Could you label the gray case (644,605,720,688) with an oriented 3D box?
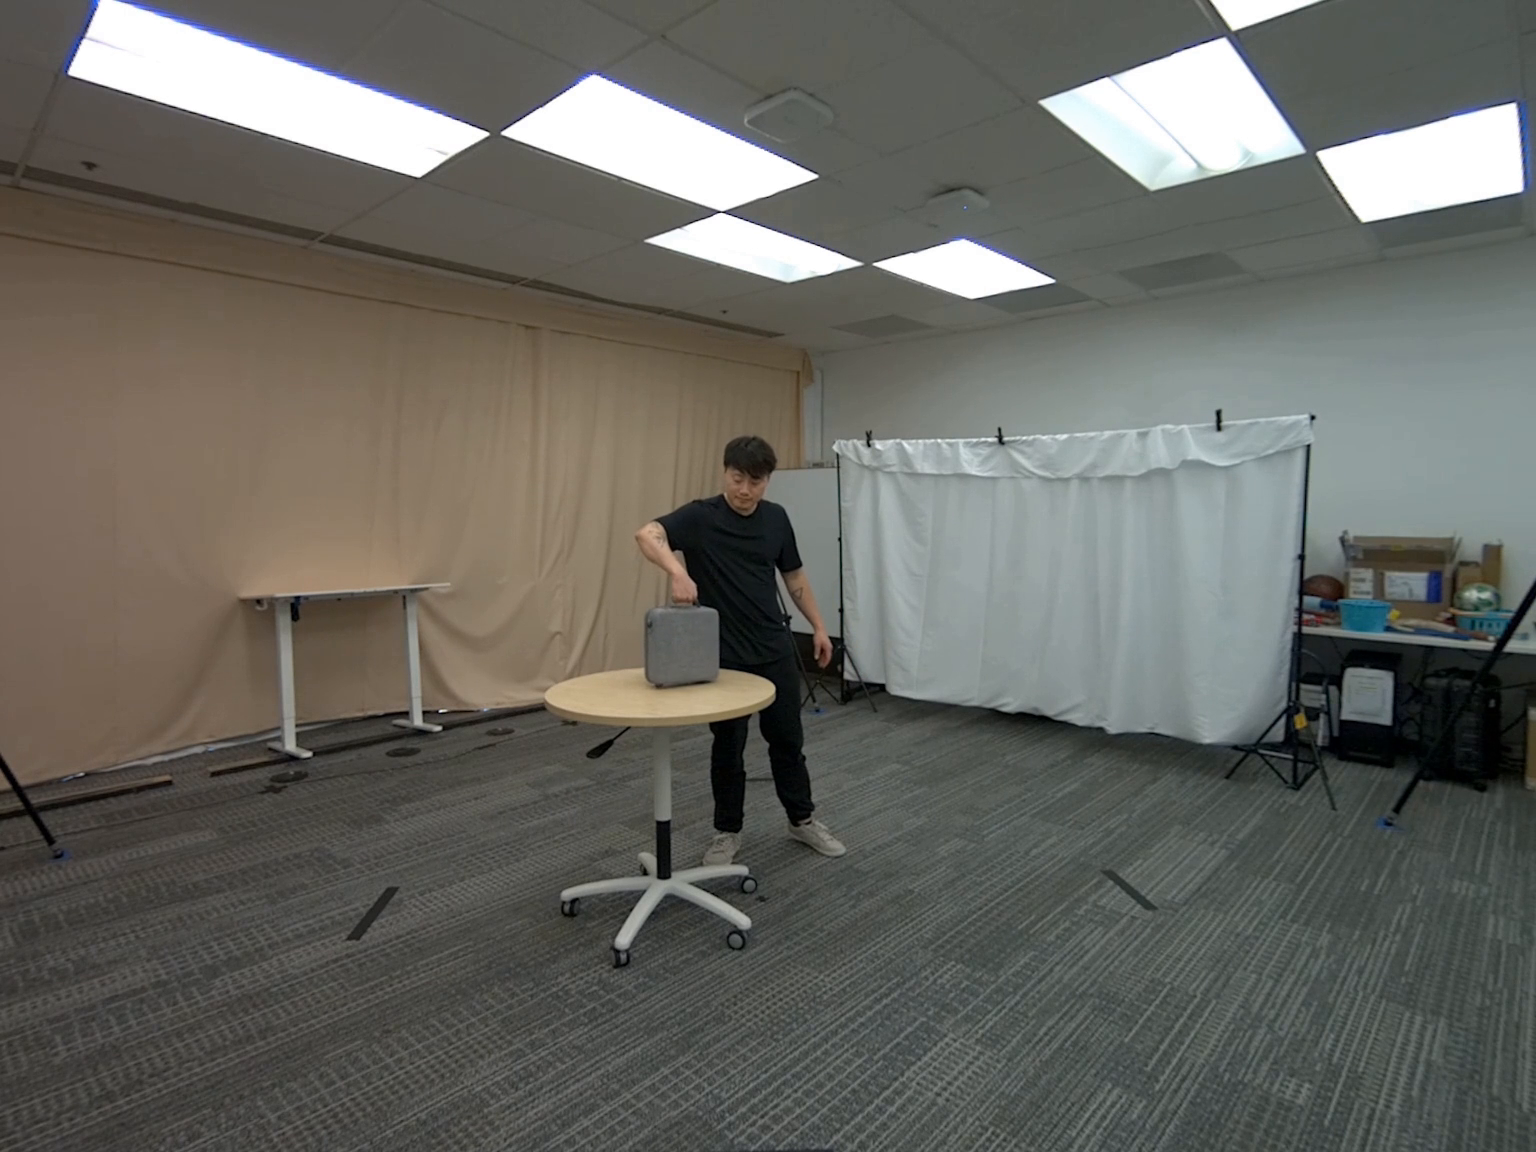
[{"bbox_3d":[-0.288,0.228,2.877,0.250,0.261,0.107,0,0,-28],"label":"gray case"}]
